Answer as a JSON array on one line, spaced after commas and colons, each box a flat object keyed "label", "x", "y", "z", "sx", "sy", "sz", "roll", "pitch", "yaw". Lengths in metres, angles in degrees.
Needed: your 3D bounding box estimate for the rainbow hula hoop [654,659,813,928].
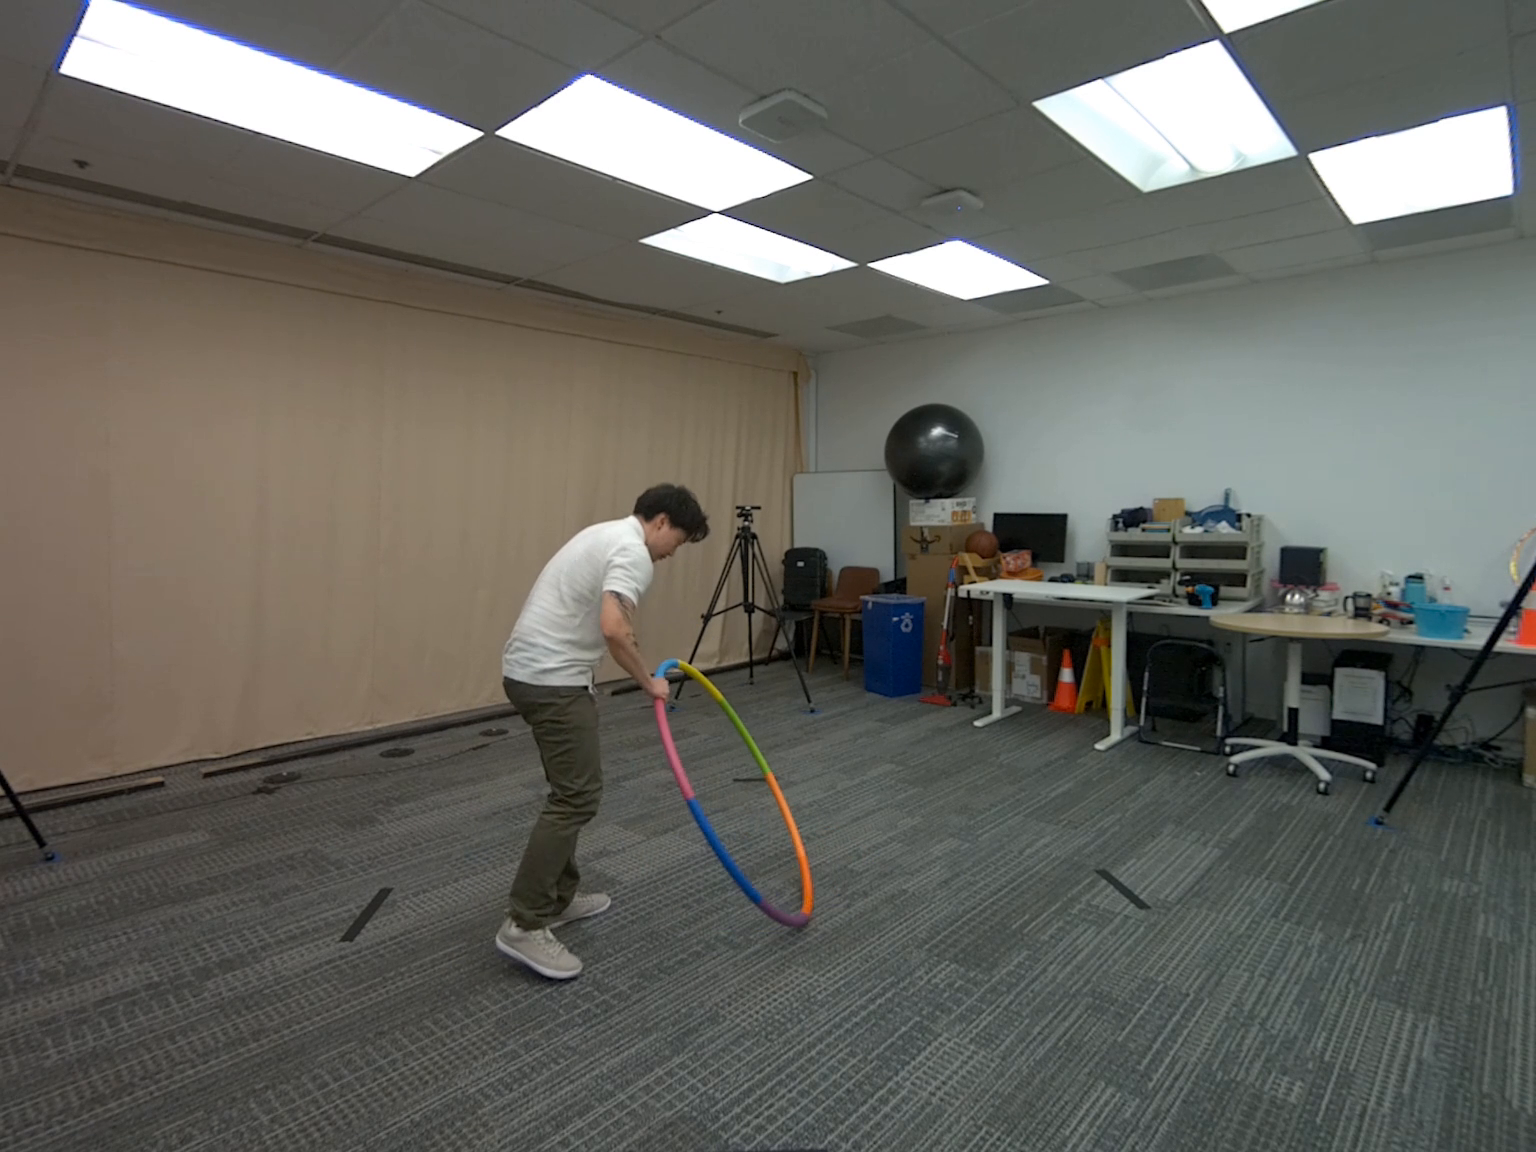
[{"label": "rainbow hula hoop", "x": -0.115, "y": 0.735, "z": 2.925, "sx": 0.036, "sy": 0.981, "sz": 0.971, "roll": -33, "pitch": -1, "yaw": 8}]
